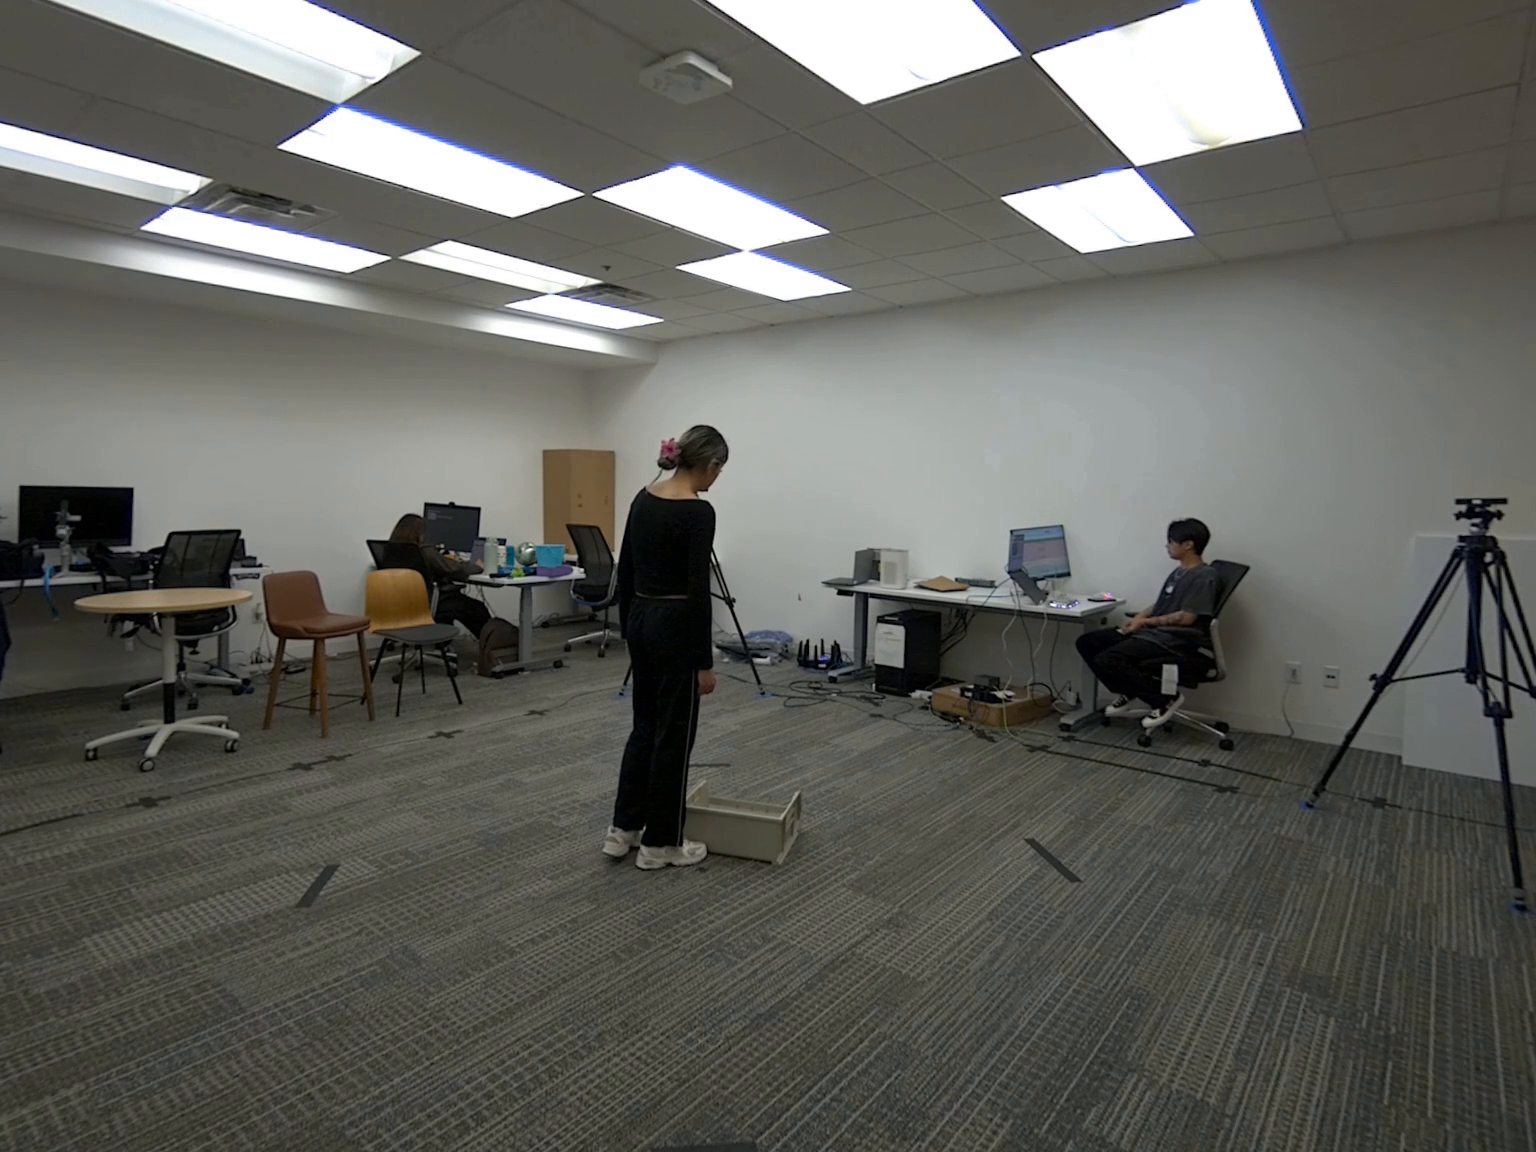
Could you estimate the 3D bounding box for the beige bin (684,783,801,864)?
[{"bbox_3d":[-0.115,0.960,3.382,0.430,0.188,0.372,2,6,16],"label":"beige bin"}]
